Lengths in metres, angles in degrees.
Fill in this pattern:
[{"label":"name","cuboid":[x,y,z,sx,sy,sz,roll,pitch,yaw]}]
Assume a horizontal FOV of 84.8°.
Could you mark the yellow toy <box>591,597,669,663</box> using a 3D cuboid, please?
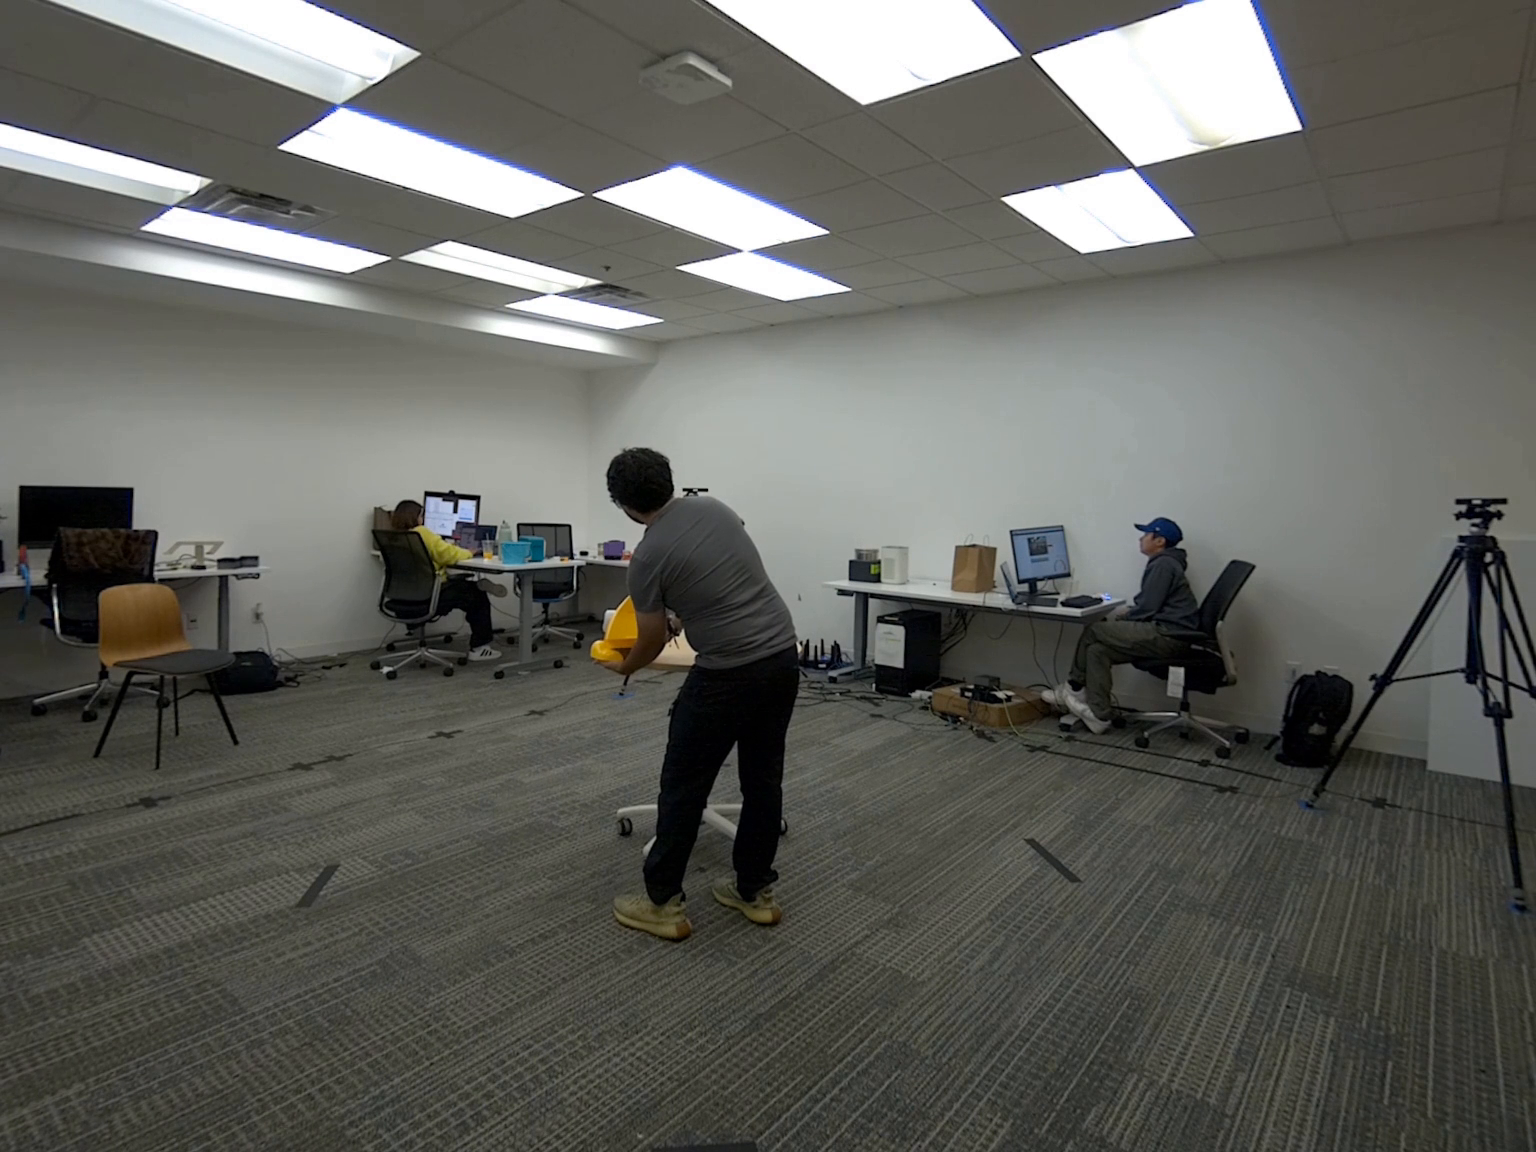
[{"label":"yellow toy","cuboid":[-0.532,0.173,3.037,0.198,0.230,0.199,1,4,-36]}]
